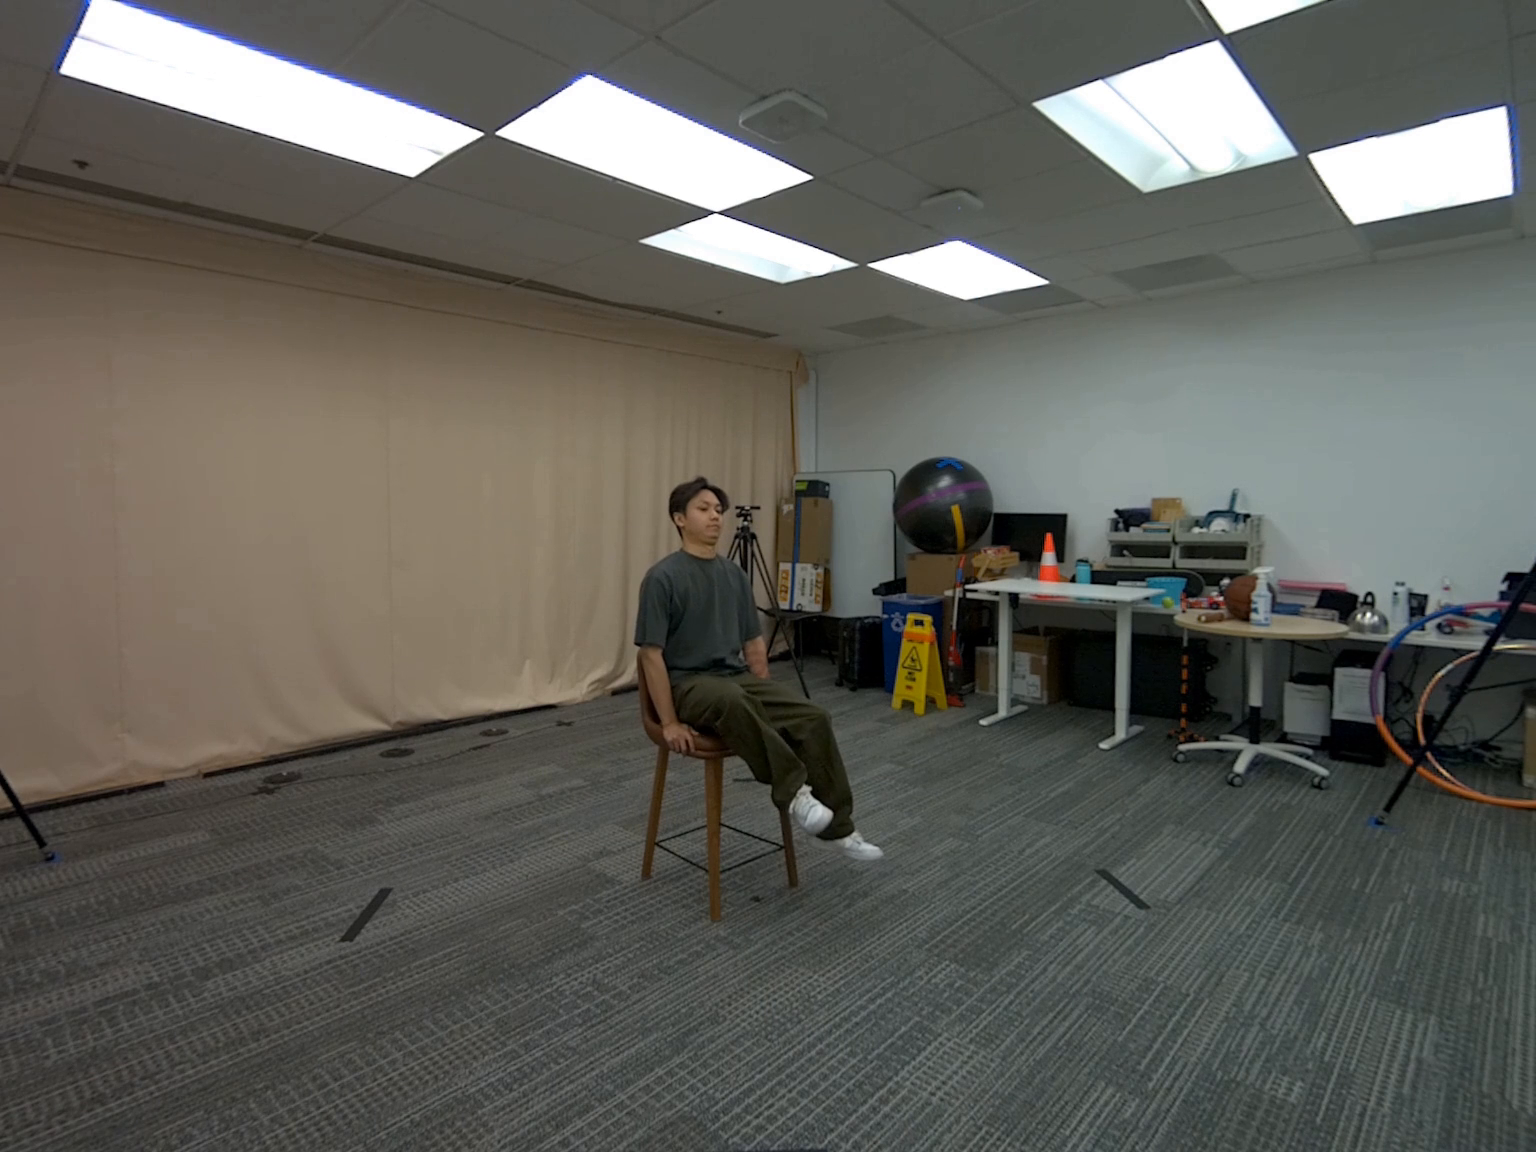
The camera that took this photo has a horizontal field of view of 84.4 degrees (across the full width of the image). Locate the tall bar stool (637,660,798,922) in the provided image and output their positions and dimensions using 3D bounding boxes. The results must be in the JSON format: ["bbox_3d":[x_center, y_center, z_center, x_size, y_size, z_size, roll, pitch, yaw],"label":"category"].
[{"bbox_3d":[-0.197,0.699,3.102,0.442,0.889,0.482,-3,2,-43],"label":"tall bar stool"}]
